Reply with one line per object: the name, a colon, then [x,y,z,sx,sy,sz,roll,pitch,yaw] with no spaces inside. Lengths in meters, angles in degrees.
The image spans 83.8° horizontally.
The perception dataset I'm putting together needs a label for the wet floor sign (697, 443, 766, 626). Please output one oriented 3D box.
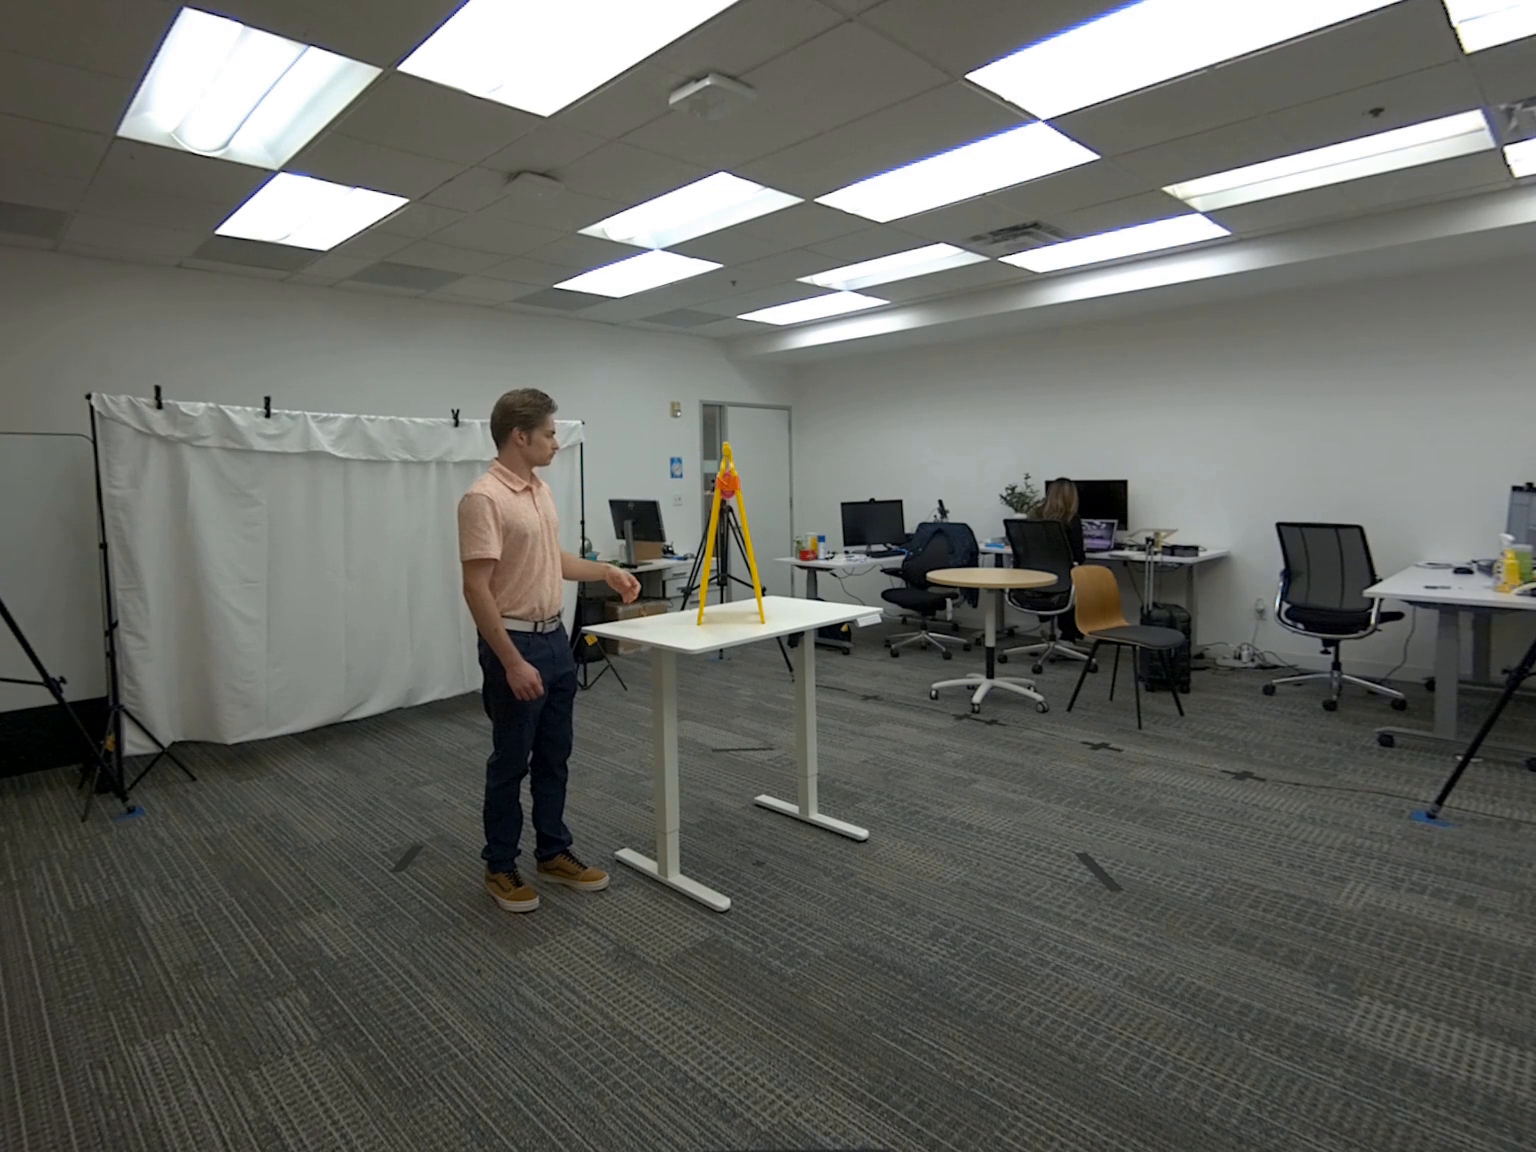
wet floor sign: [-0.140,-0.165,3.163,0.290,0.643,0.283,-1,5,0]
